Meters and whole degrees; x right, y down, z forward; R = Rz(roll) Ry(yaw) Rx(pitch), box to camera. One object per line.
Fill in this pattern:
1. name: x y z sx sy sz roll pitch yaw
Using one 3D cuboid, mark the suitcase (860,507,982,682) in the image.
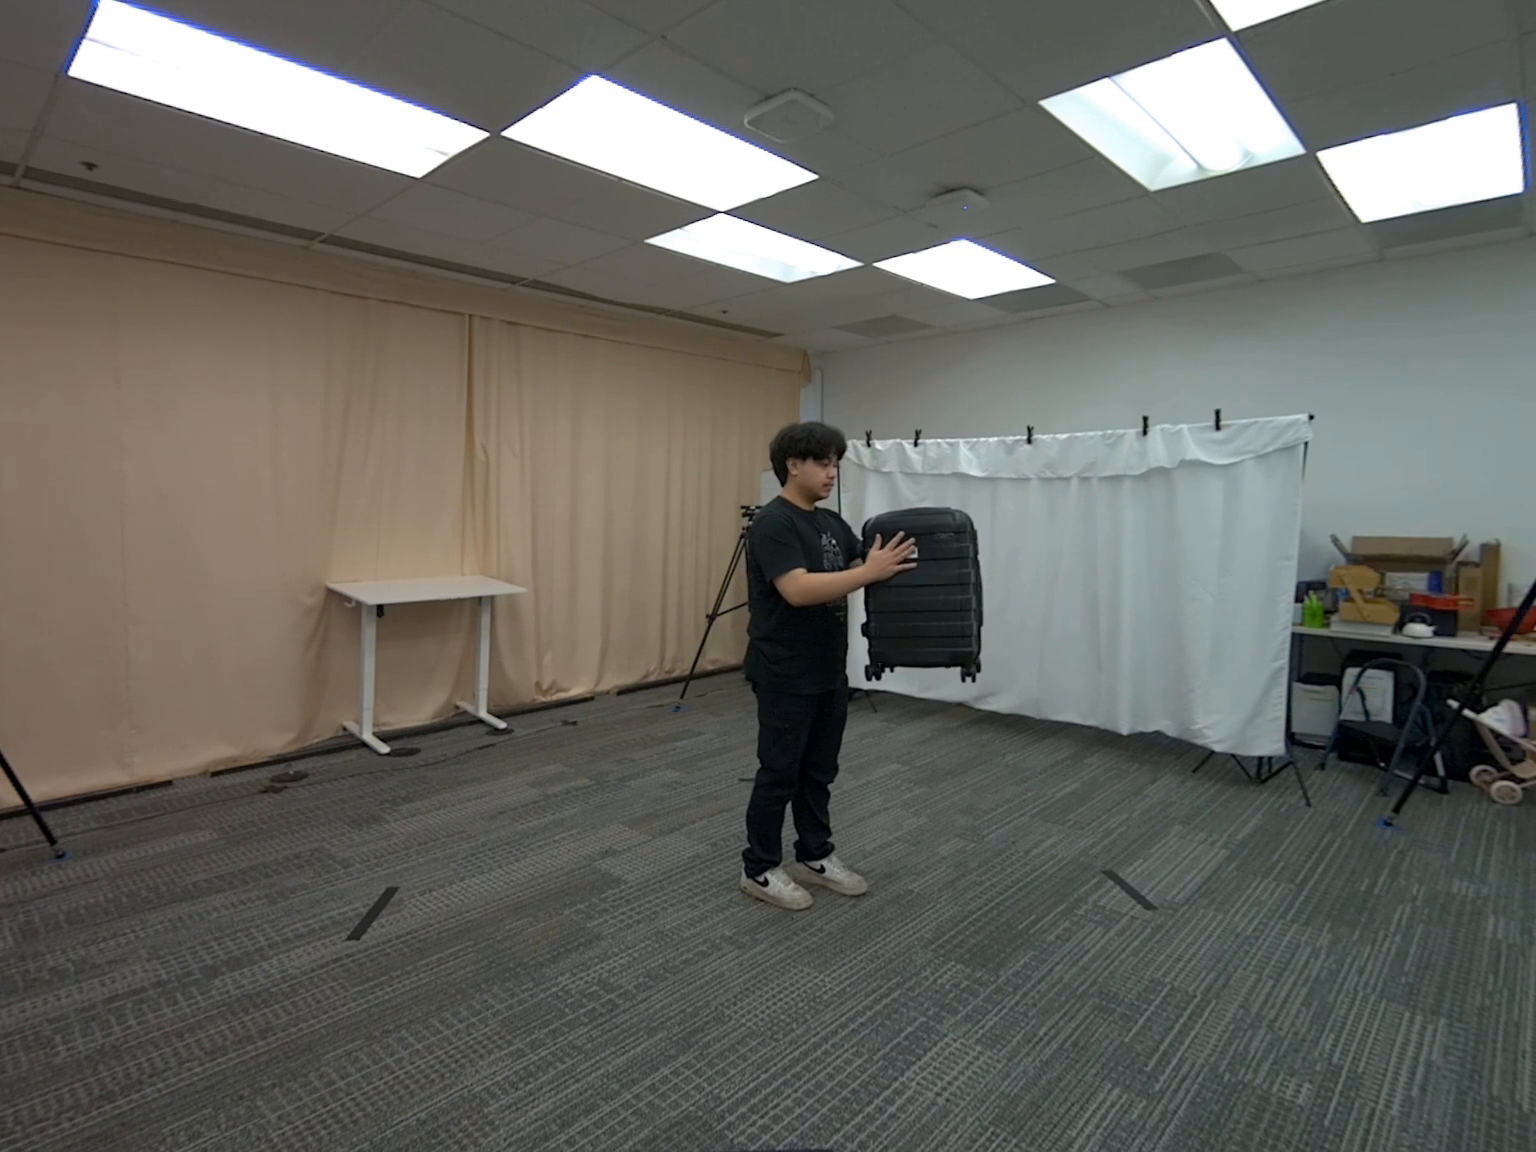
1. suitcase: 0.512 0.058 2.739 0.385 0.549 0.242 -3 0 25
